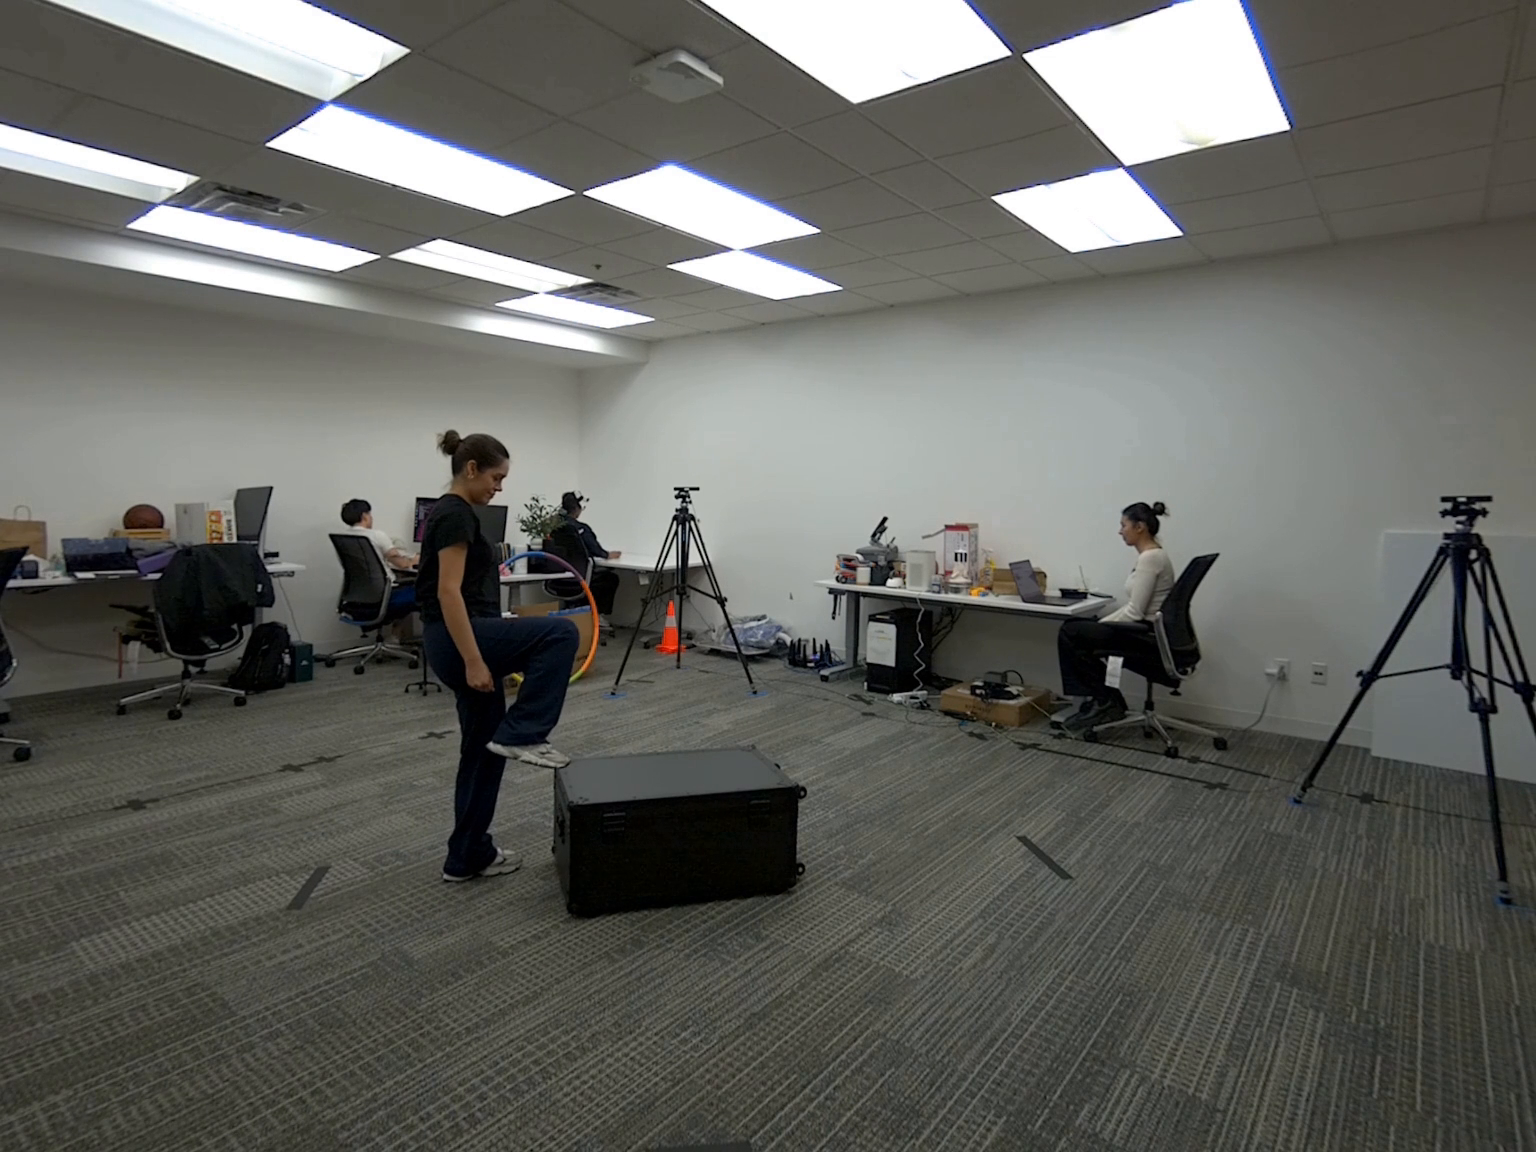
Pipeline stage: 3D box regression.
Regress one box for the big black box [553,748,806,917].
[{"bbox_3d":[-0.303,0.875,3.057,0.846,0.395,0.533,-2,5,-18],"label":"big black box"}]
